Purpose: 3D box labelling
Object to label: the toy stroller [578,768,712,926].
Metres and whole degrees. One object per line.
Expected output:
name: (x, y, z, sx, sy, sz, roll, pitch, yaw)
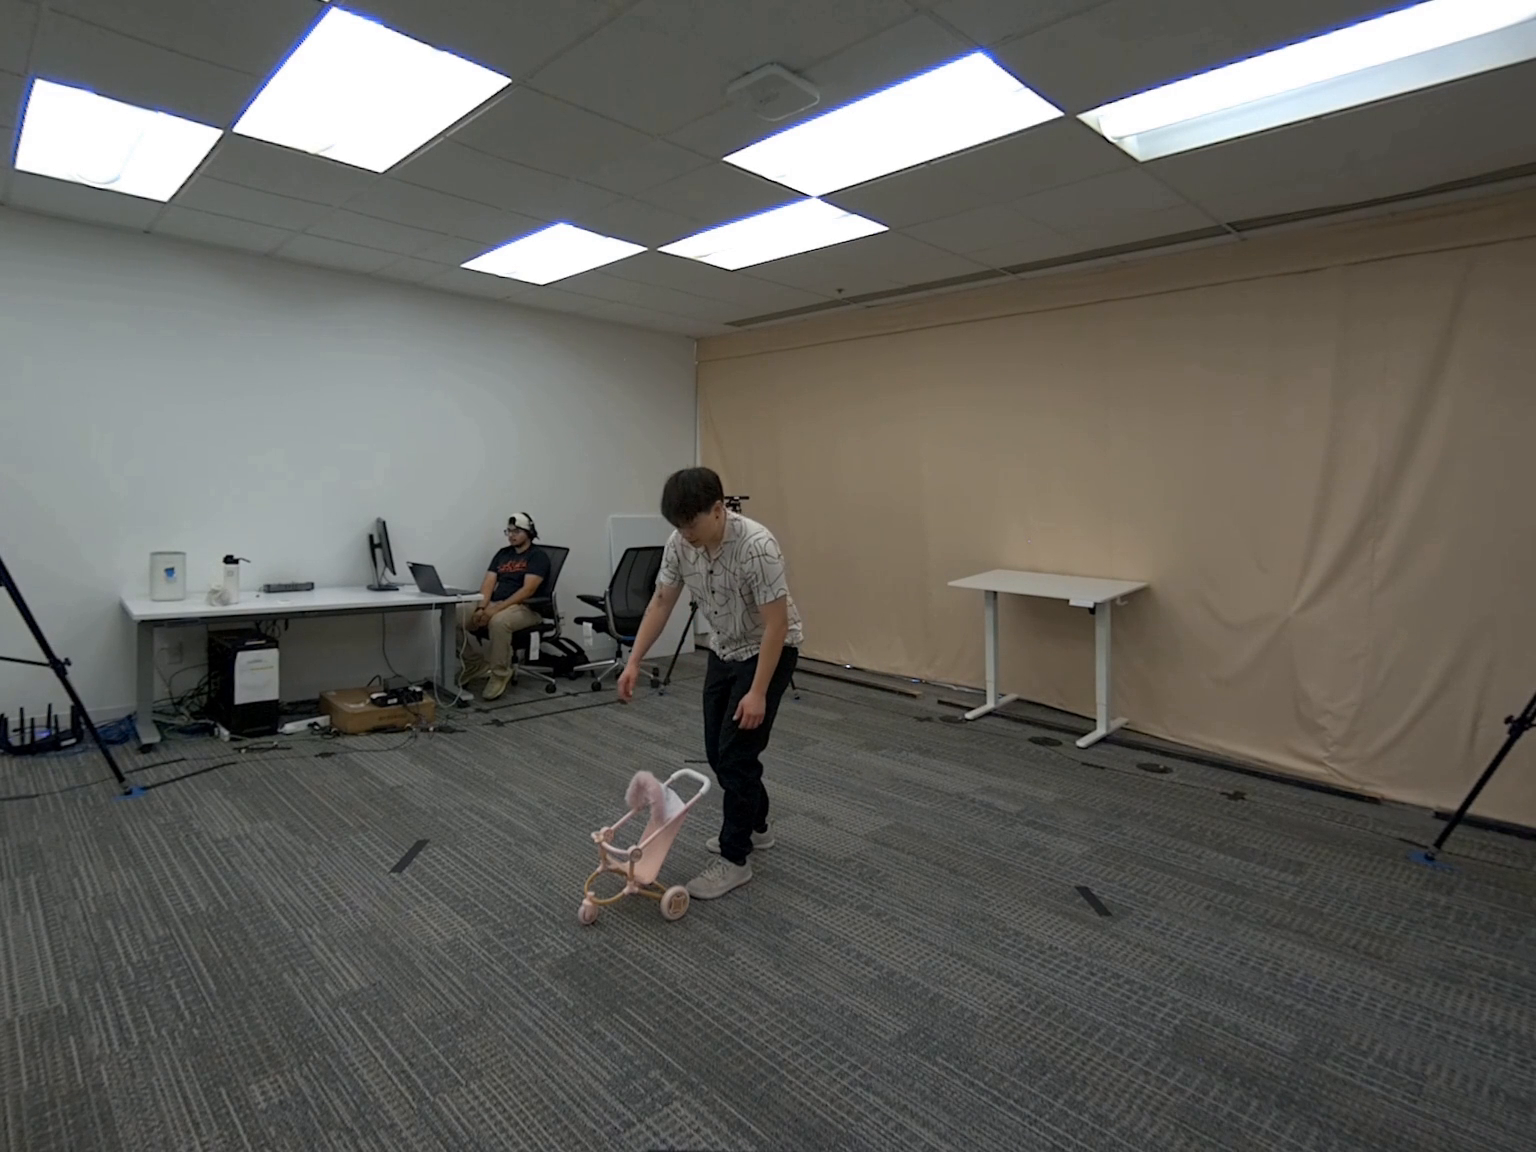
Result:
toy stroller: (-0.433, 0.901, 2.820, 0.332, 0.536, 0.288, 19, -7, -33)
